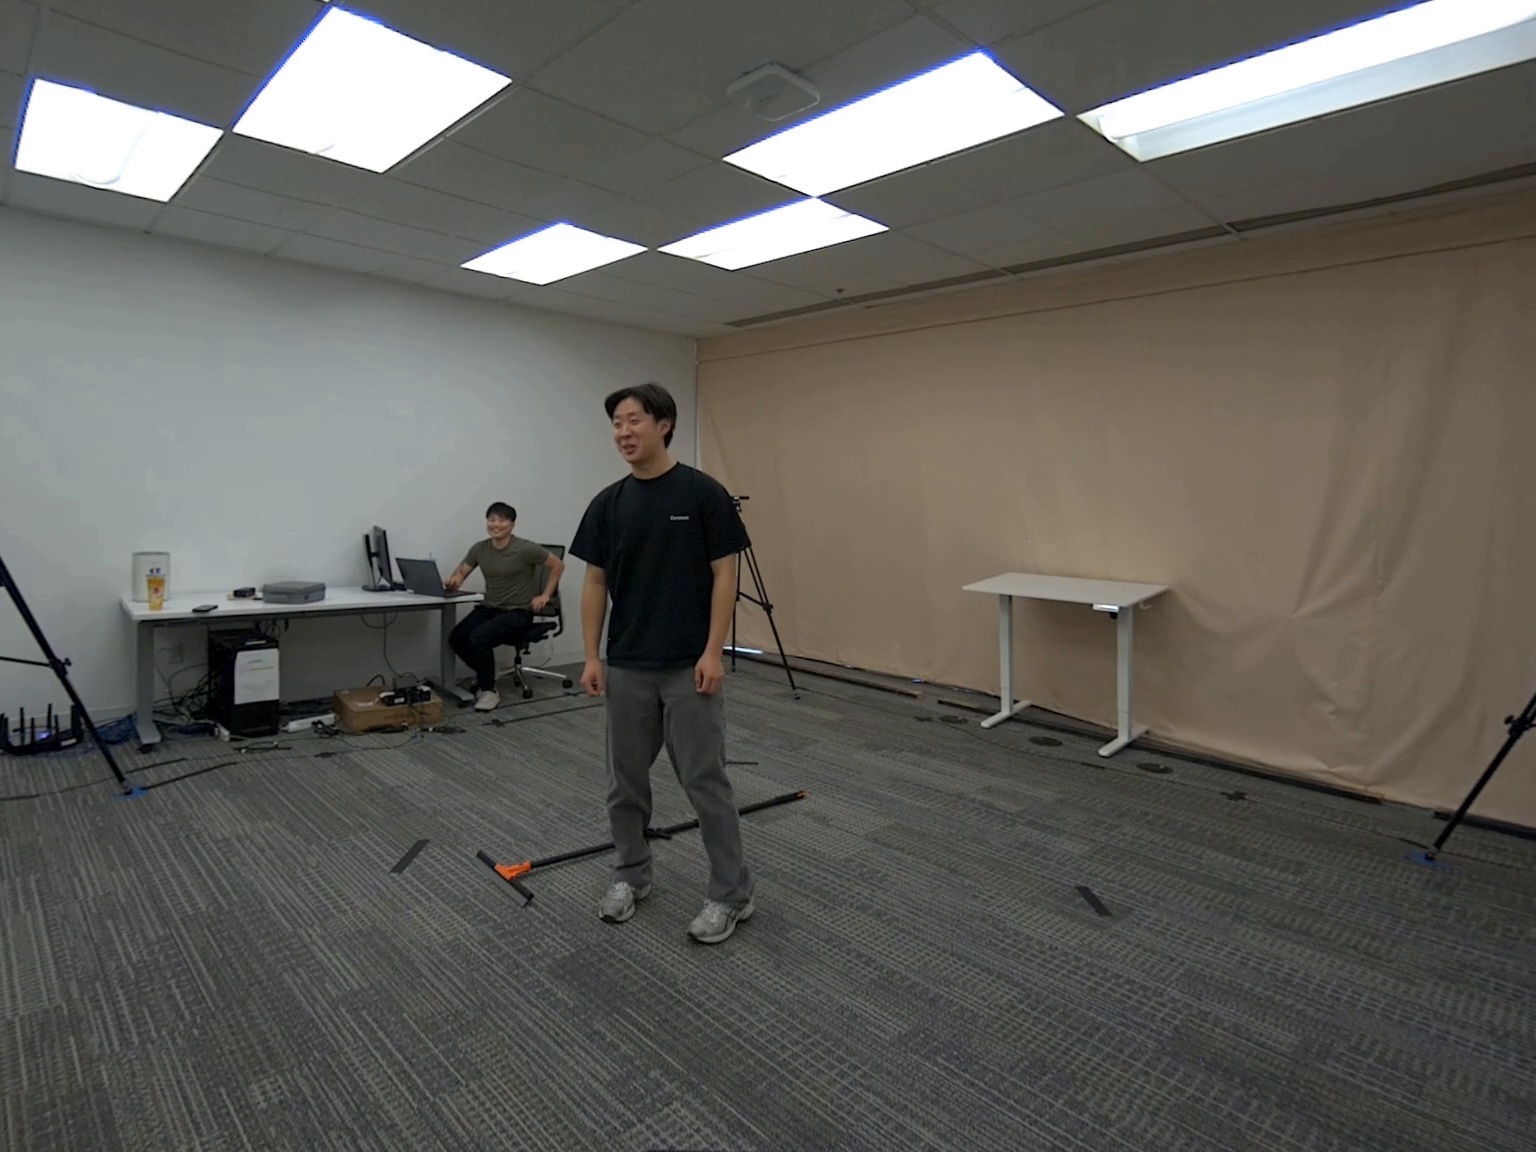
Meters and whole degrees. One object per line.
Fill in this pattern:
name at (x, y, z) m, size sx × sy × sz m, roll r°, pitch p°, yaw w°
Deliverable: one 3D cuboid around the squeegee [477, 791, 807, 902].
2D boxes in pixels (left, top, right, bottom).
squeegee at (-0.400, 1.033, 3.473) m, size 1.502 × 0.053 × 0.449 m, roll -2°, pitch 8°, yaw -40°
